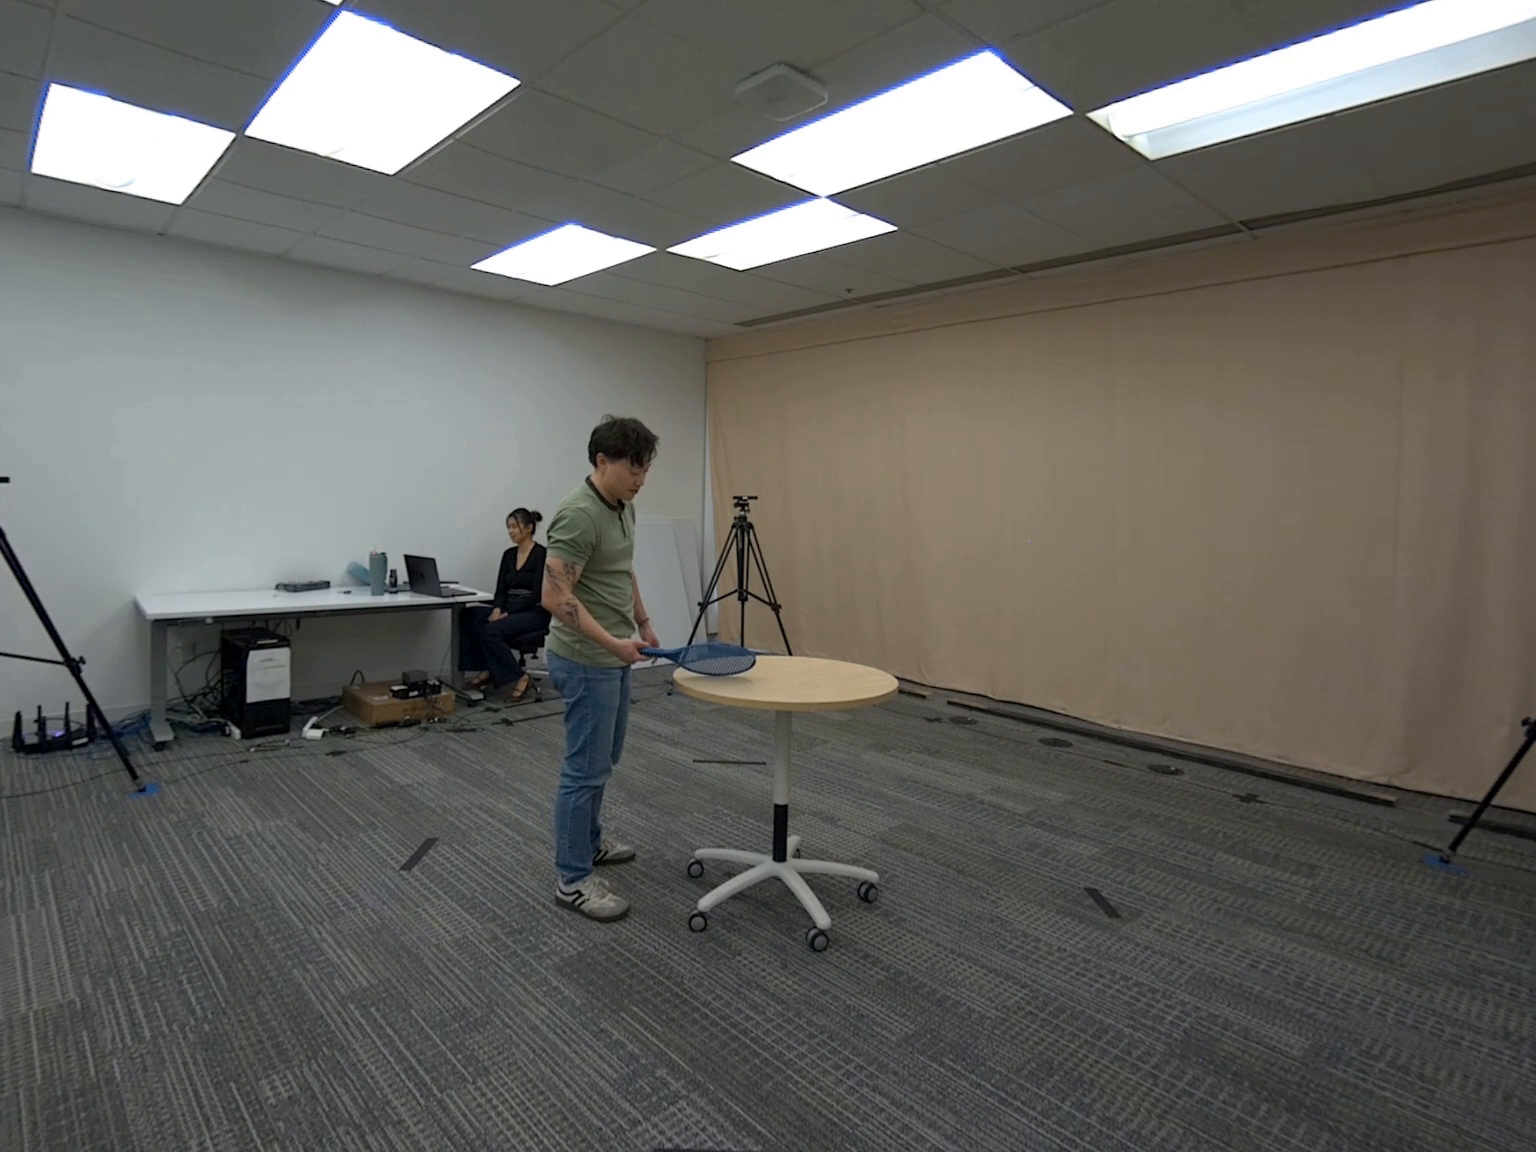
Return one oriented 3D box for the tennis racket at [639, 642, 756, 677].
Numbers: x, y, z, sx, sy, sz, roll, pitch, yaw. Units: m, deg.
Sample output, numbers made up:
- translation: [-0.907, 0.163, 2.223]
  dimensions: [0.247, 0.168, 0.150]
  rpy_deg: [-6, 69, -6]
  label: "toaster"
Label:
- translation: [-0.269, 0.270, 2.747]
  dimensions: [0.428, 0.032, 0.211]
  rpy_deg: [9, -35, -12]
  label: "tennis racket"
